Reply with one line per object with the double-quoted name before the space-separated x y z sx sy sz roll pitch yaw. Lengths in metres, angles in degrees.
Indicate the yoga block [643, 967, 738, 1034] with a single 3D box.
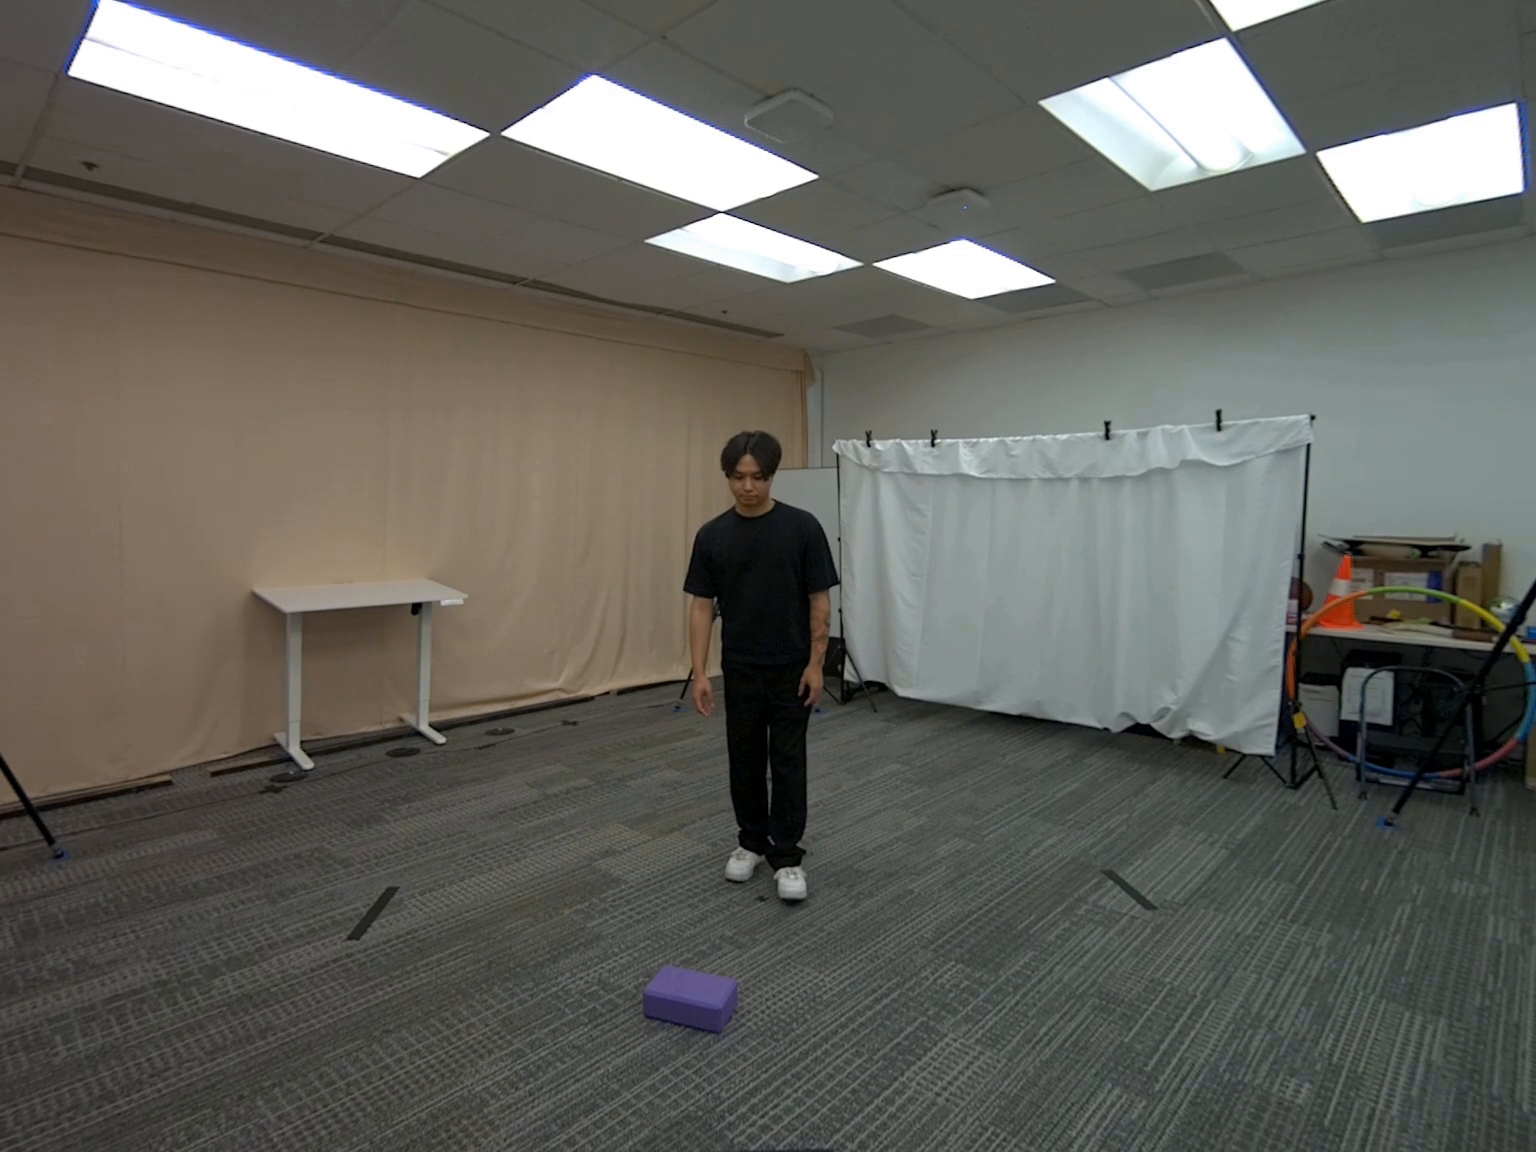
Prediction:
"yoga block" -0.208 1.163 2.315 0.234 0.076 0.146 1 4 18
